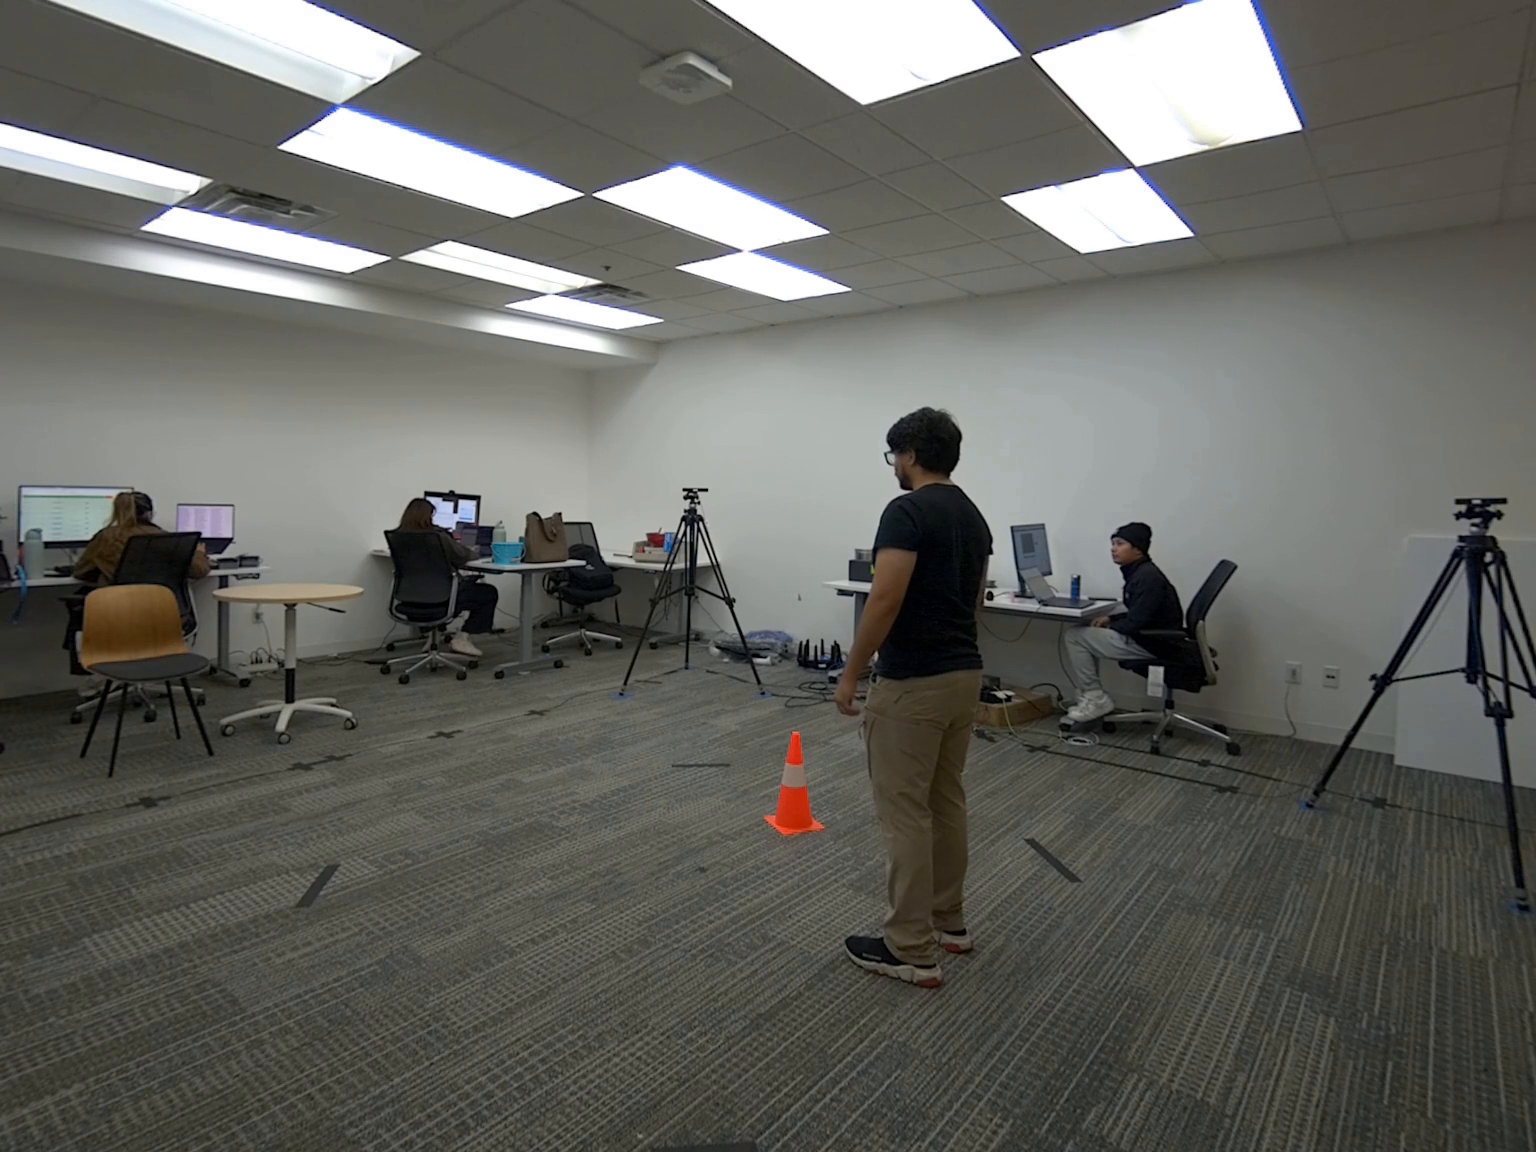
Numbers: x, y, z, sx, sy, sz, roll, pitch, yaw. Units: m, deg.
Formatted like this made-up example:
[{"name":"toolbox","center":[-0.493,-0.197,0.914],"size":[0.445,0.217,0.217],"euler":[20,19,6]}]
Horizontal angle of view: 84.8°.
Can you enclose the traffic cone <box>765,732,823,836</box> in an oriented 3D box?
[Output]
[{"name":"traffic cone","center":[0.094,0.845,3.561],"size":[0.201,0.383,0.208],"euler":[-2,3,-22]}]
